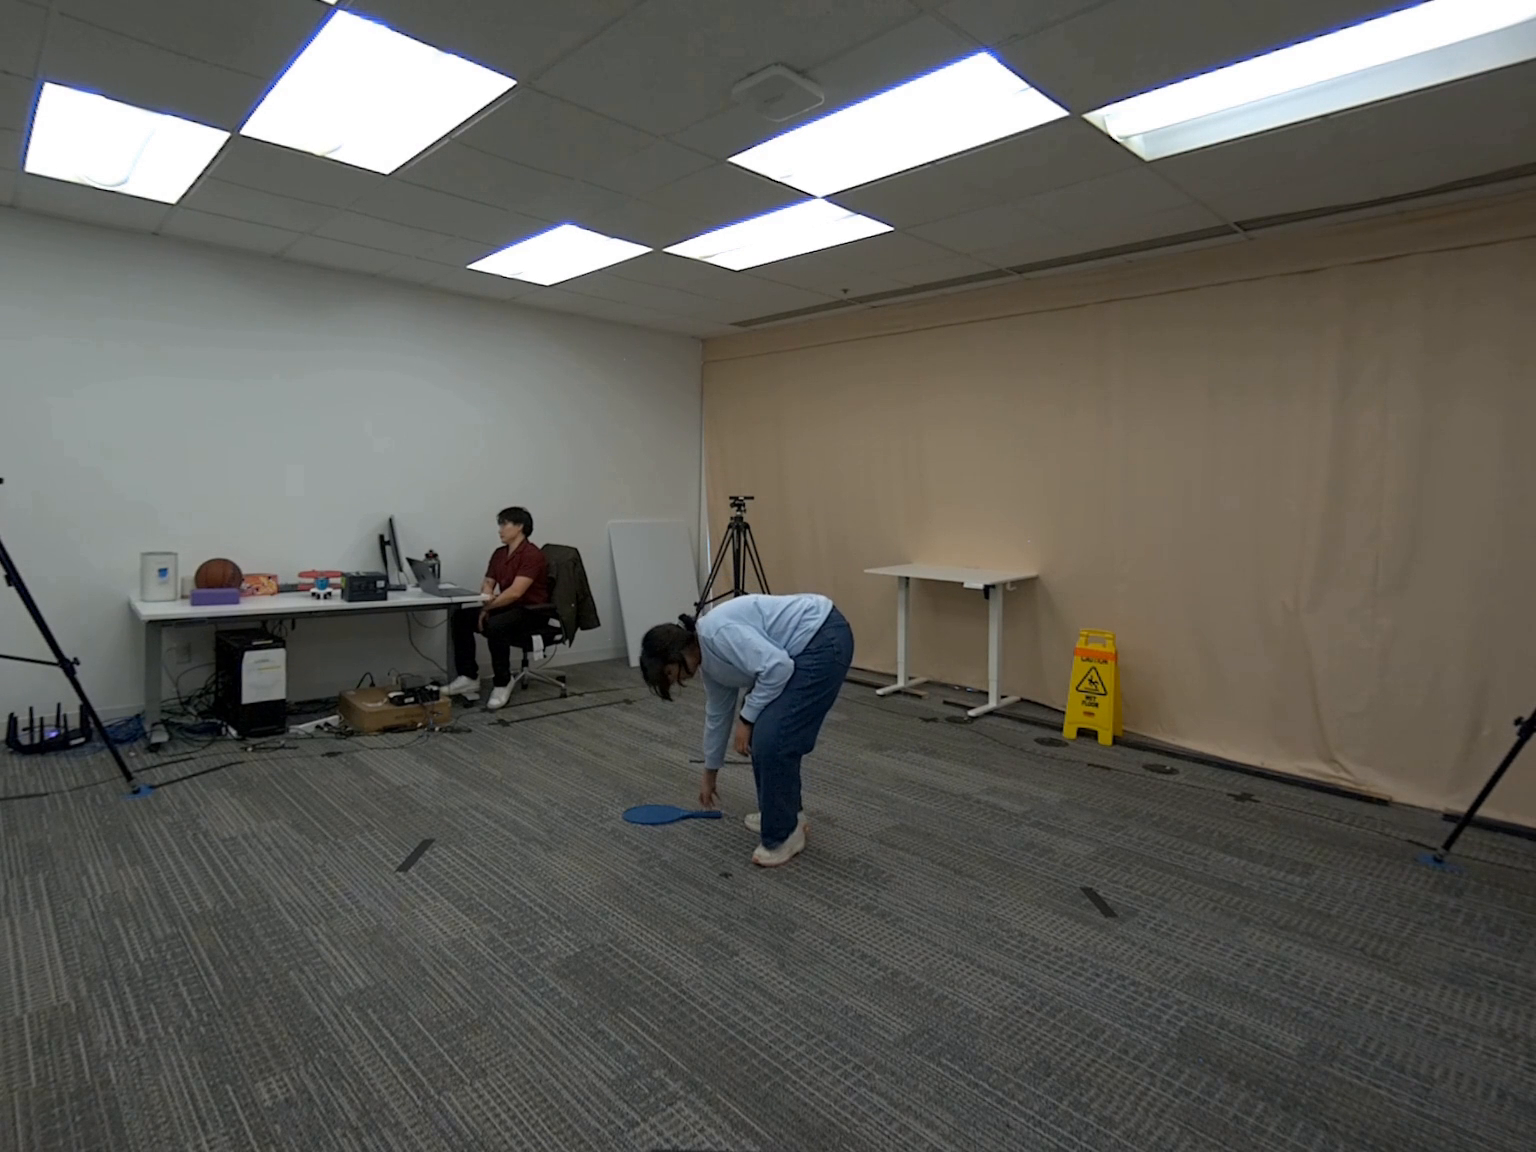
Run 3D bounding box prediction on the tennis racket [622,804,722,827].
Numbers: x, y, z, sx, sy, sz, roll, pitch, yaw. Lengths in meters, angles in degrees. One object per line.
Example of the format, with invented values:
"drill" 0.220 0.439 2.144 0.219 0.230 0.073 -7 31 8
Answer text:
"tennis racket" -0.422 1.029 3.663 0.432 0.031 0.215 0 5 -3
